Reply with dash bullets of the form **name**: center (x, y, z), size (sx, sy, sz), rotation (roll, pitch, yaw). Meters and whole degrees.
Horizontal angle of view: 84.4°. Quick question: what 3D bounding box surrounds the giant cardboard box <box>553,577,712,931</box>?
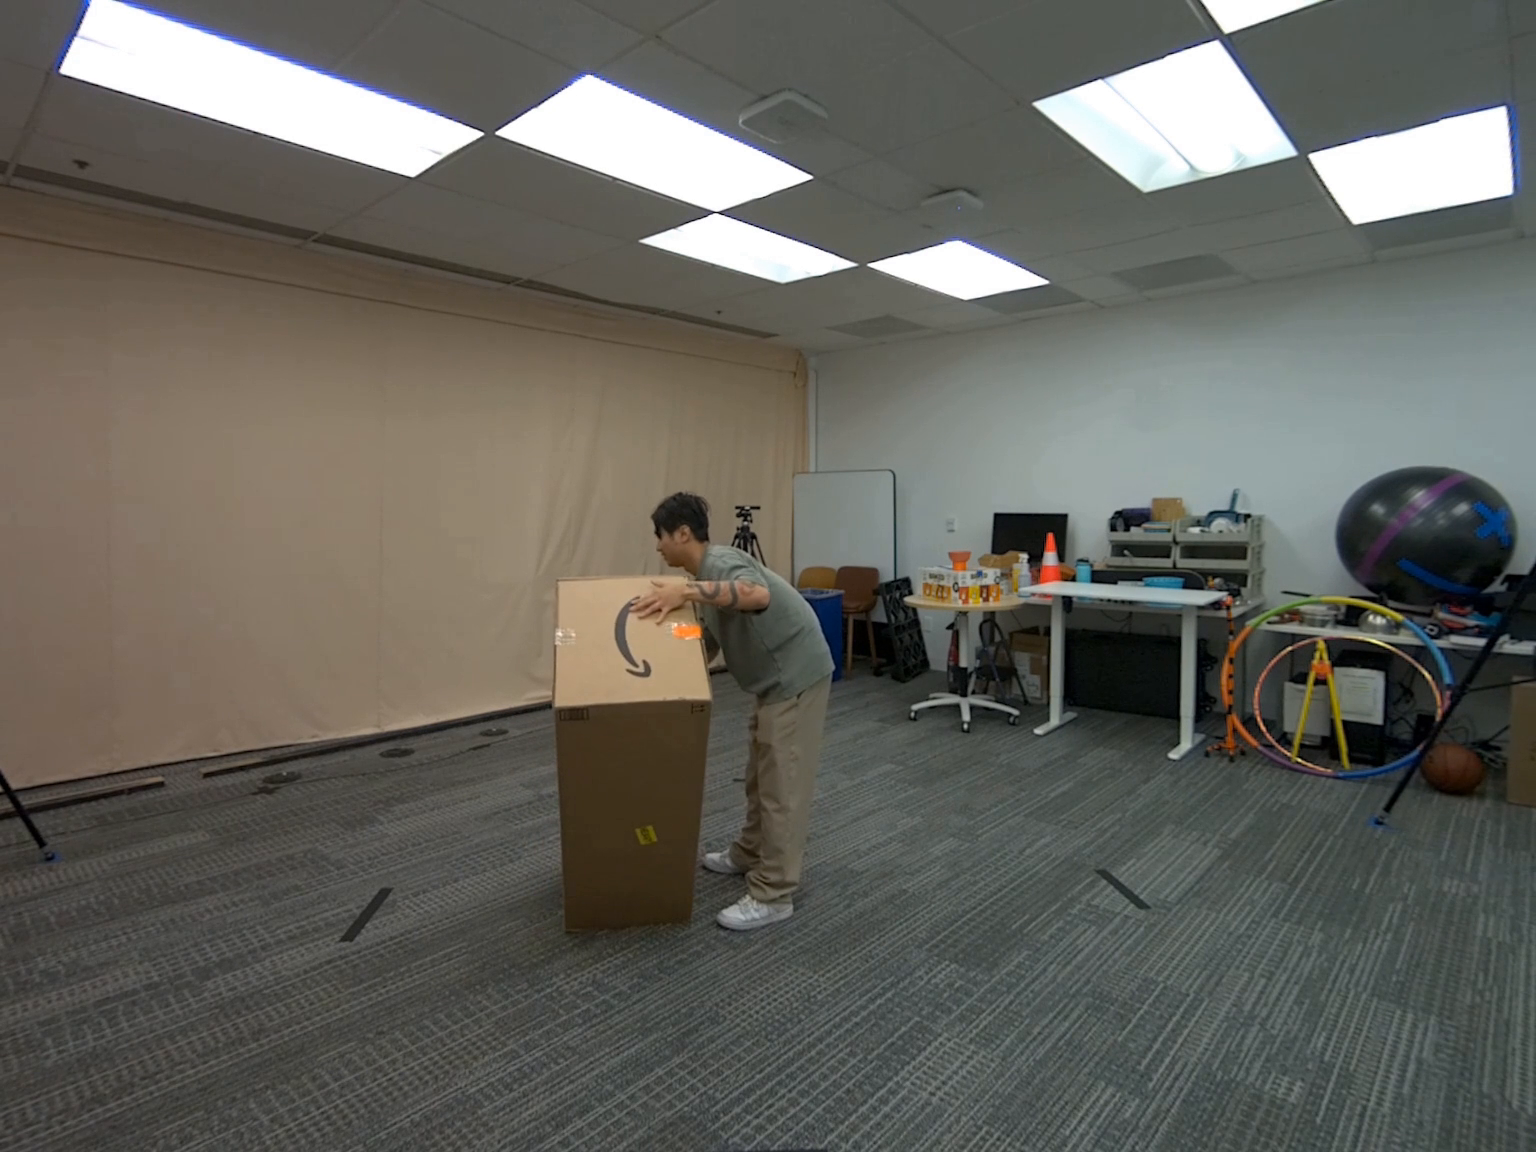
- **giant cardboard box**: center (-0.464, 0.589, 2.741), size (0.421, 1.011, 0.592), rotation (-1, 34, -12)
